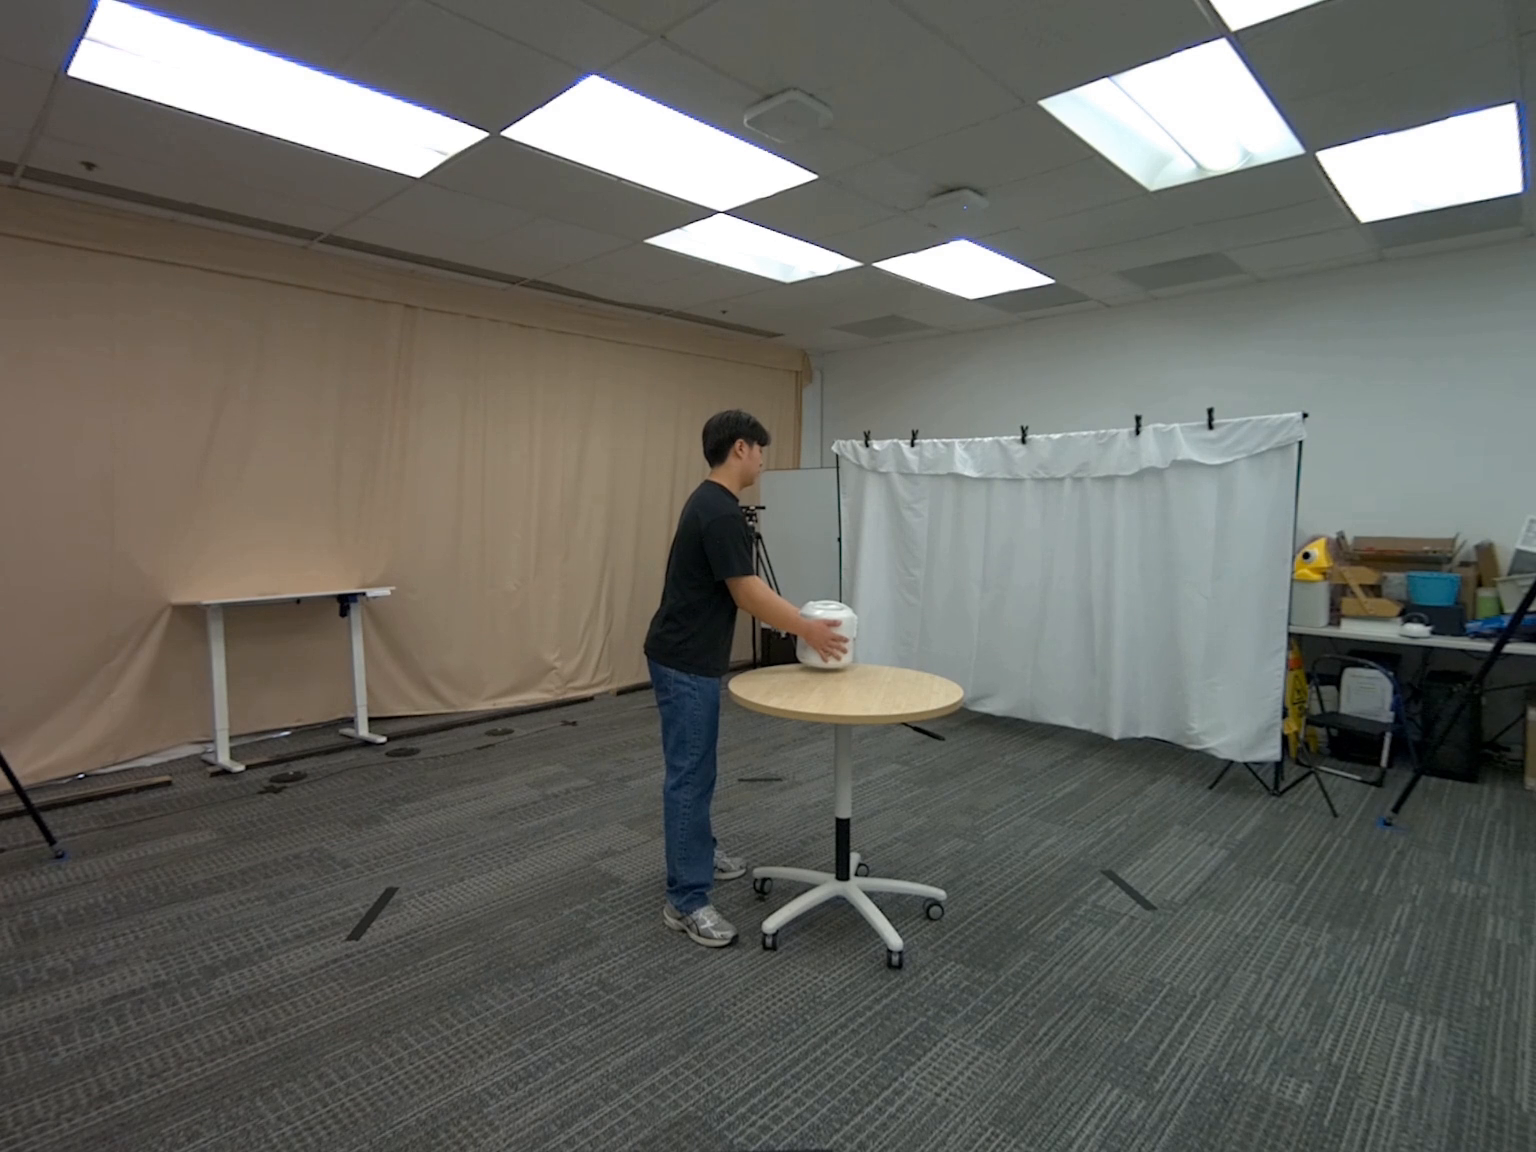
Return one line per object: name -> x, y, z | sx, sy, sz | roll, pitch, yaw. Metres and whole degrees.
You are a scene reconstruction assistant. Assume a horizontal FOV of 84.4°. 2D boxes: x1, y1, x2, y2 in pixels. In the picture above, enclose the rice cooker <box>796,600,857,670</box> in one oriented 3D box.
rice cooker -> 0.219, 0.205, 3.046 | 0.221, 0.232, 0.218 | 3, 5, 1
